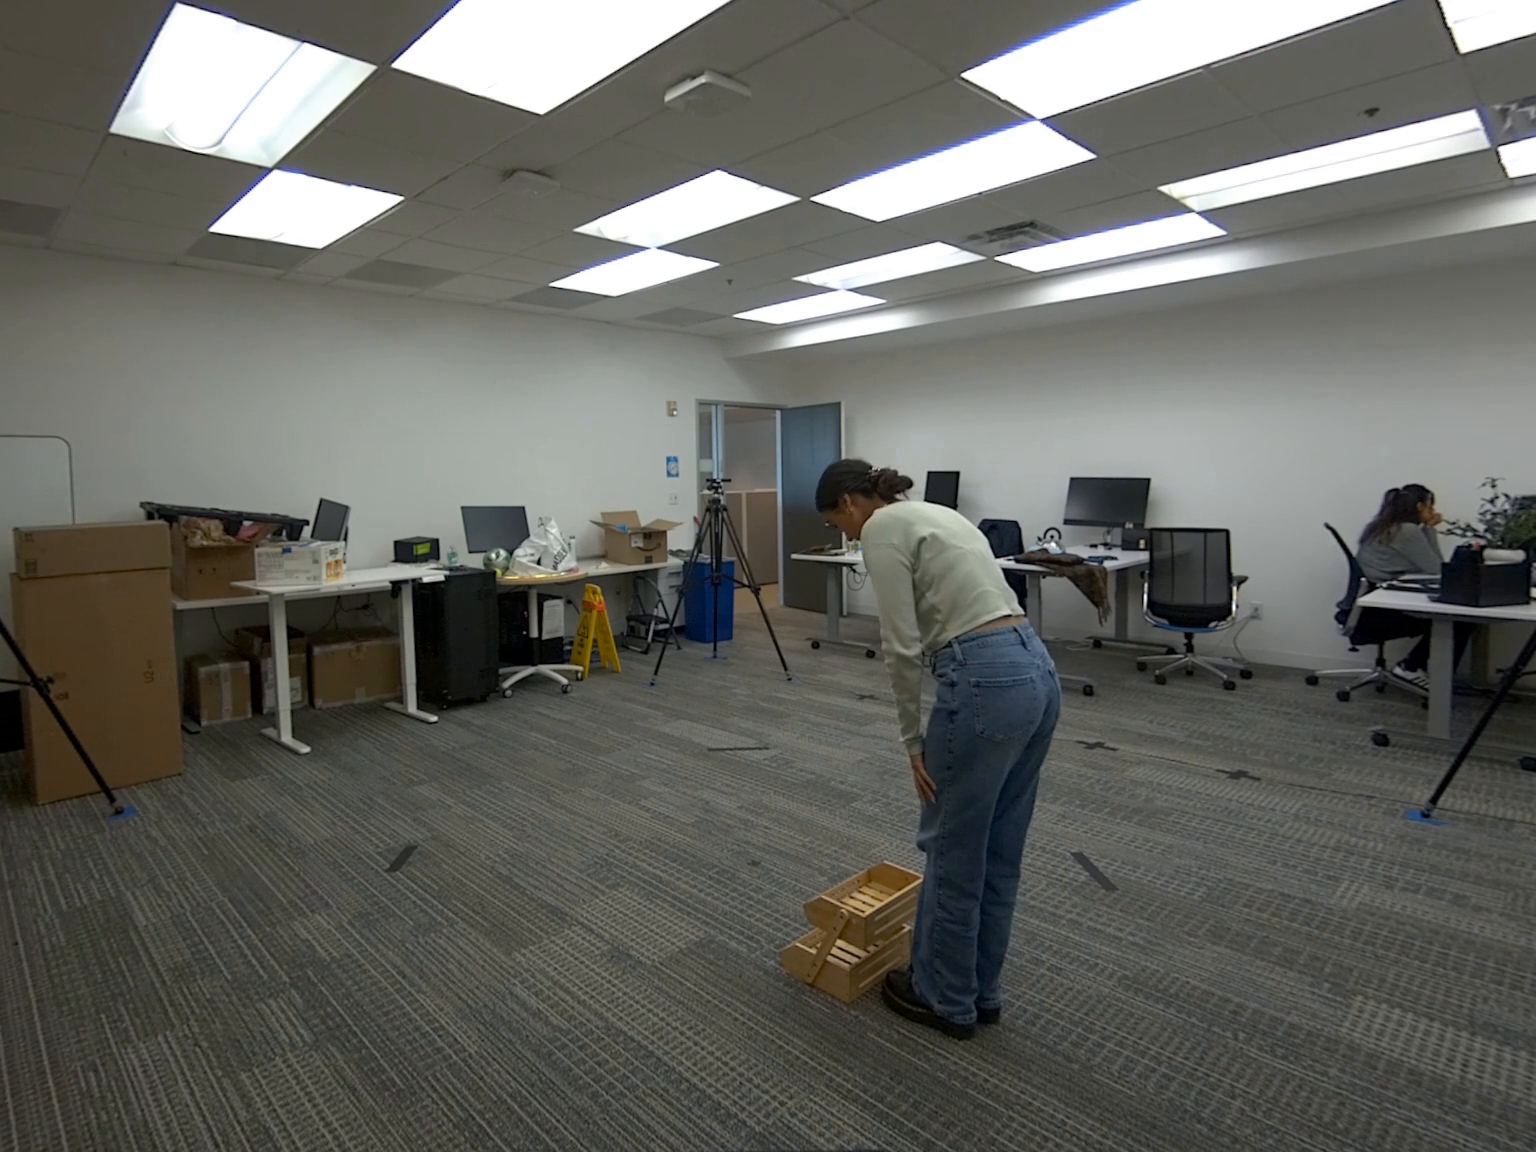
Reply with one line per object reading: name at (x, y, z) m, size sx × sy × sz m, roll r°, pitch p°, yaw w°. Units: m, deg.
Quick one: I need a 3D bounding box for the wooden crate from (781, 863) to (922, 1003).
wooden crate at (0.248, 0.983, 2.430) m, size 0.311 × 0.272 × 0.316 m, roll 5°, pitch 8°, yaw 44°
